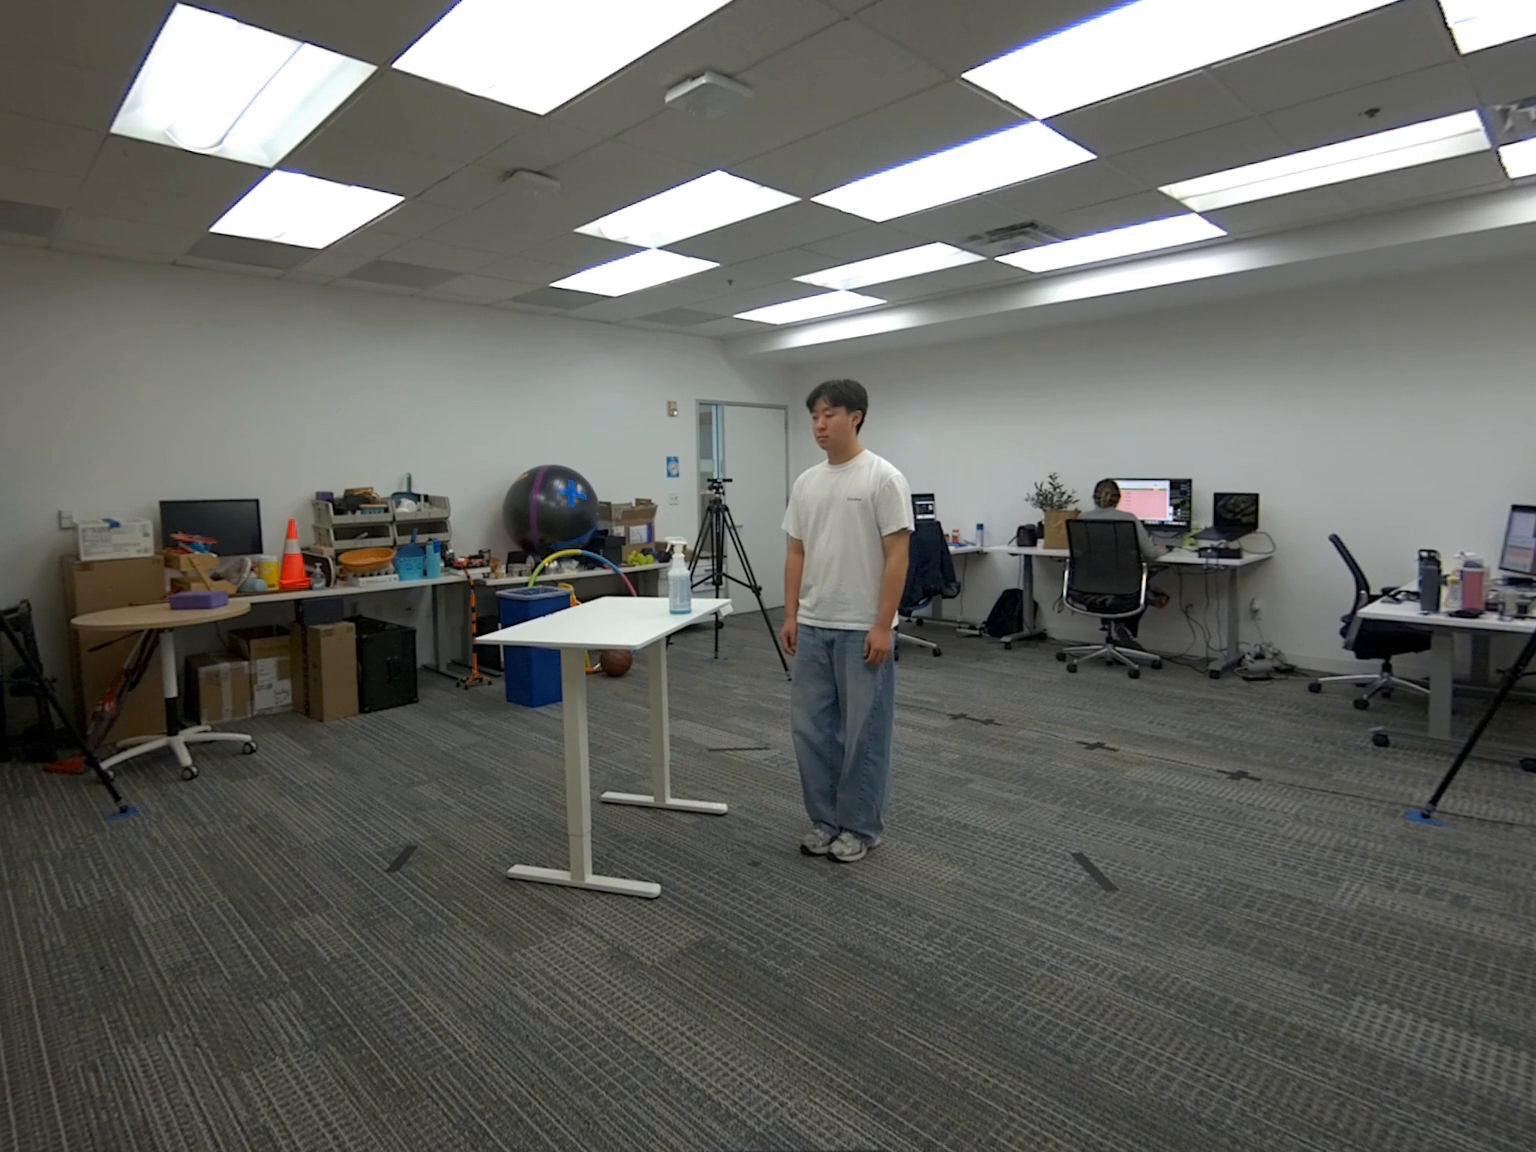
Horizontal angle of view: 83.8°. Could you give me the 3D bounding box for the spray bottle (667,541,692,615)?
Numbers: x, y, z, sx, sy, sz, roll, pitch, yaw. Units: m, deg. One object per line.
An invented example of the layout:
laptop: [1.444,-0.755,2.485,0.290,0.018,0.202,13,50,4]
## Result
spray bottle: [-0.340,-0.004,3.307,0.090,0.296,0.087,-4,4,3]
